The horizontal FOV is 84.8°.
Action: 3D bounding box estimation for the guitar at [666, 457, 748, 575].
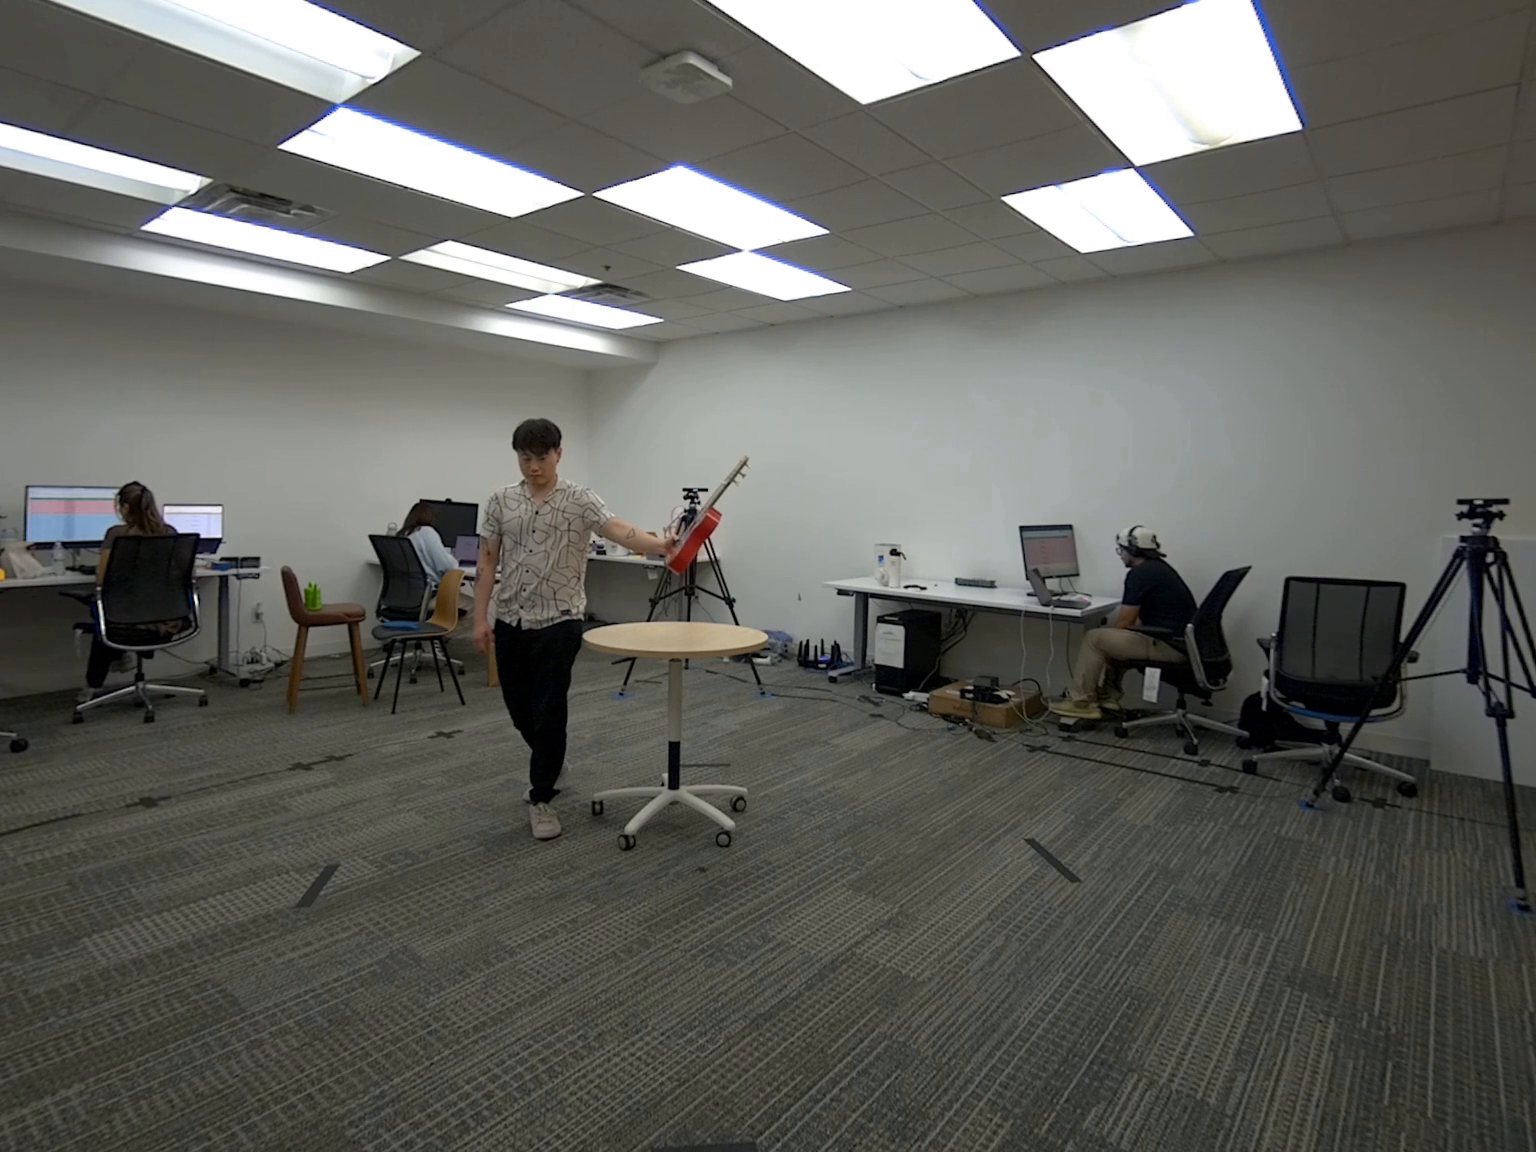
[{"bbox_3d":[-0.220,-0.218,3.093,0.069,0.497,0.197,36,14,-18],"label":"guitar"}]
